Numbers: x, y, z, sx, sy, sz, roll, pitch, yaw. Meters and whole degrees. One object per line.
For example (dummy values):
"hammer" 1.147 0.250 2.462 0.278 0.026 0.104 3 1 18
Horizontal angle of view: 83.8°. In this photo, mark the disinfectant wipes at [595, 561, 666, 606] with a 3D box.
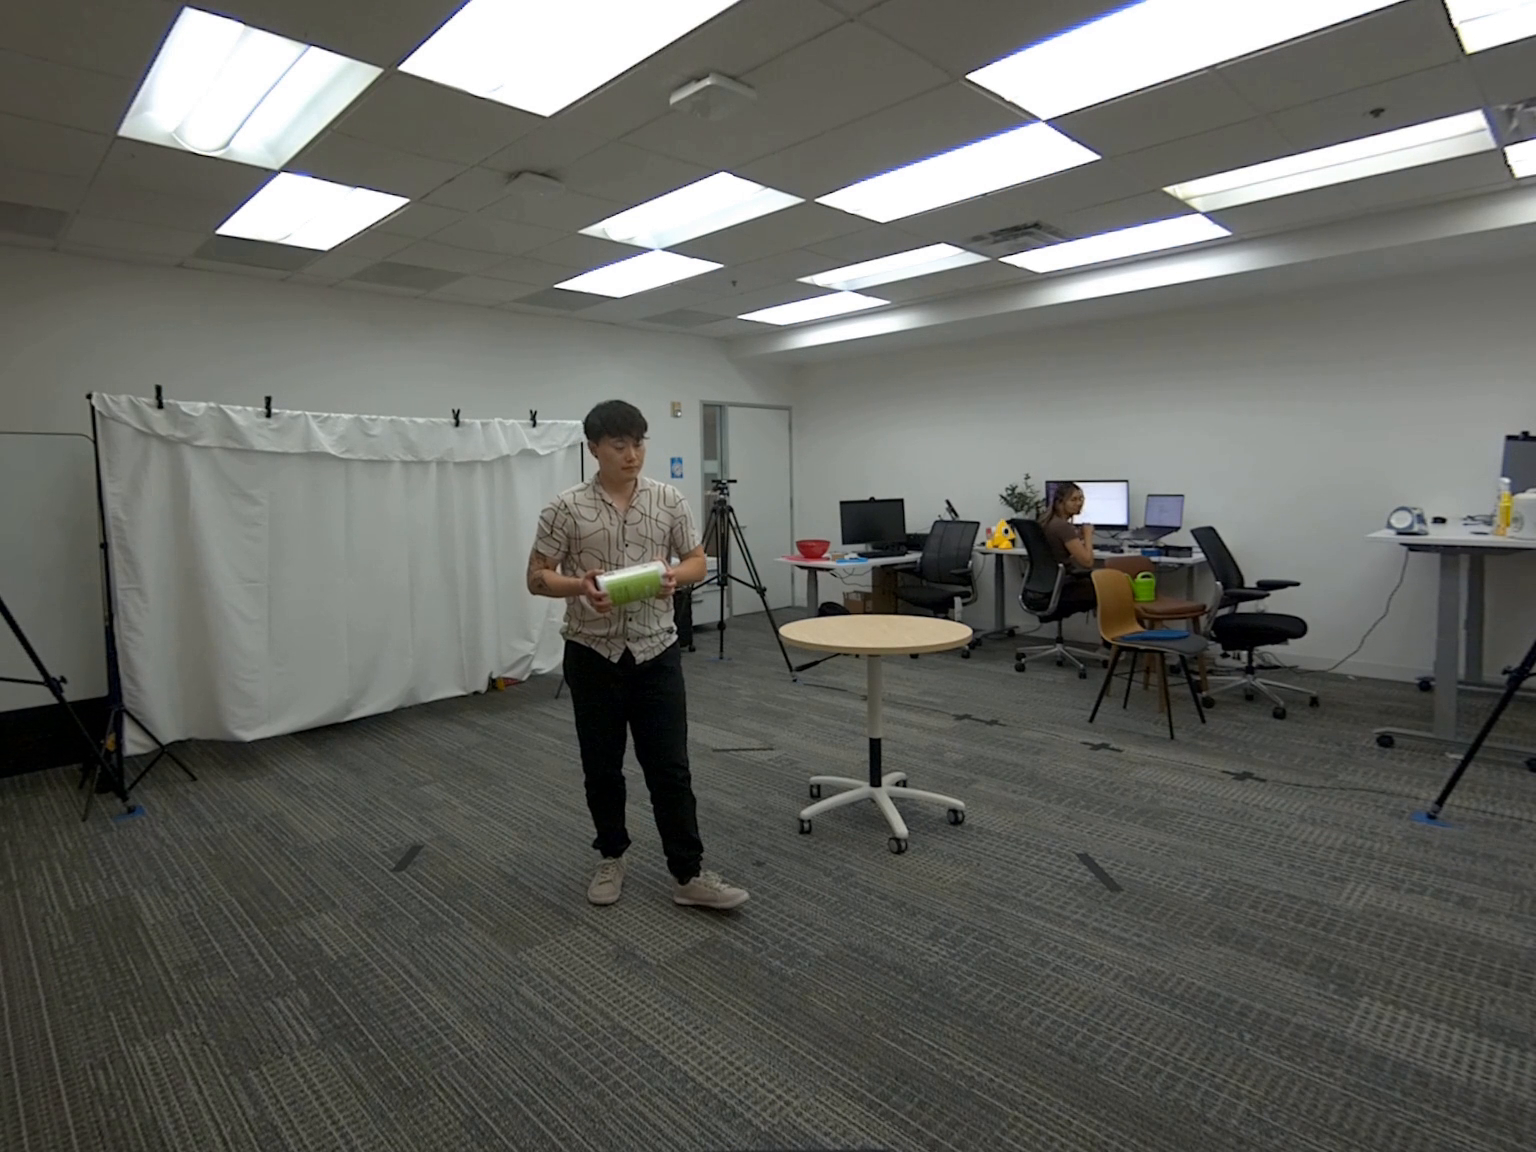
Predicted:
"disinfectant wipes" -0.434 0.026 2.638 0.214 0.117 0.120 -14 9 -19
